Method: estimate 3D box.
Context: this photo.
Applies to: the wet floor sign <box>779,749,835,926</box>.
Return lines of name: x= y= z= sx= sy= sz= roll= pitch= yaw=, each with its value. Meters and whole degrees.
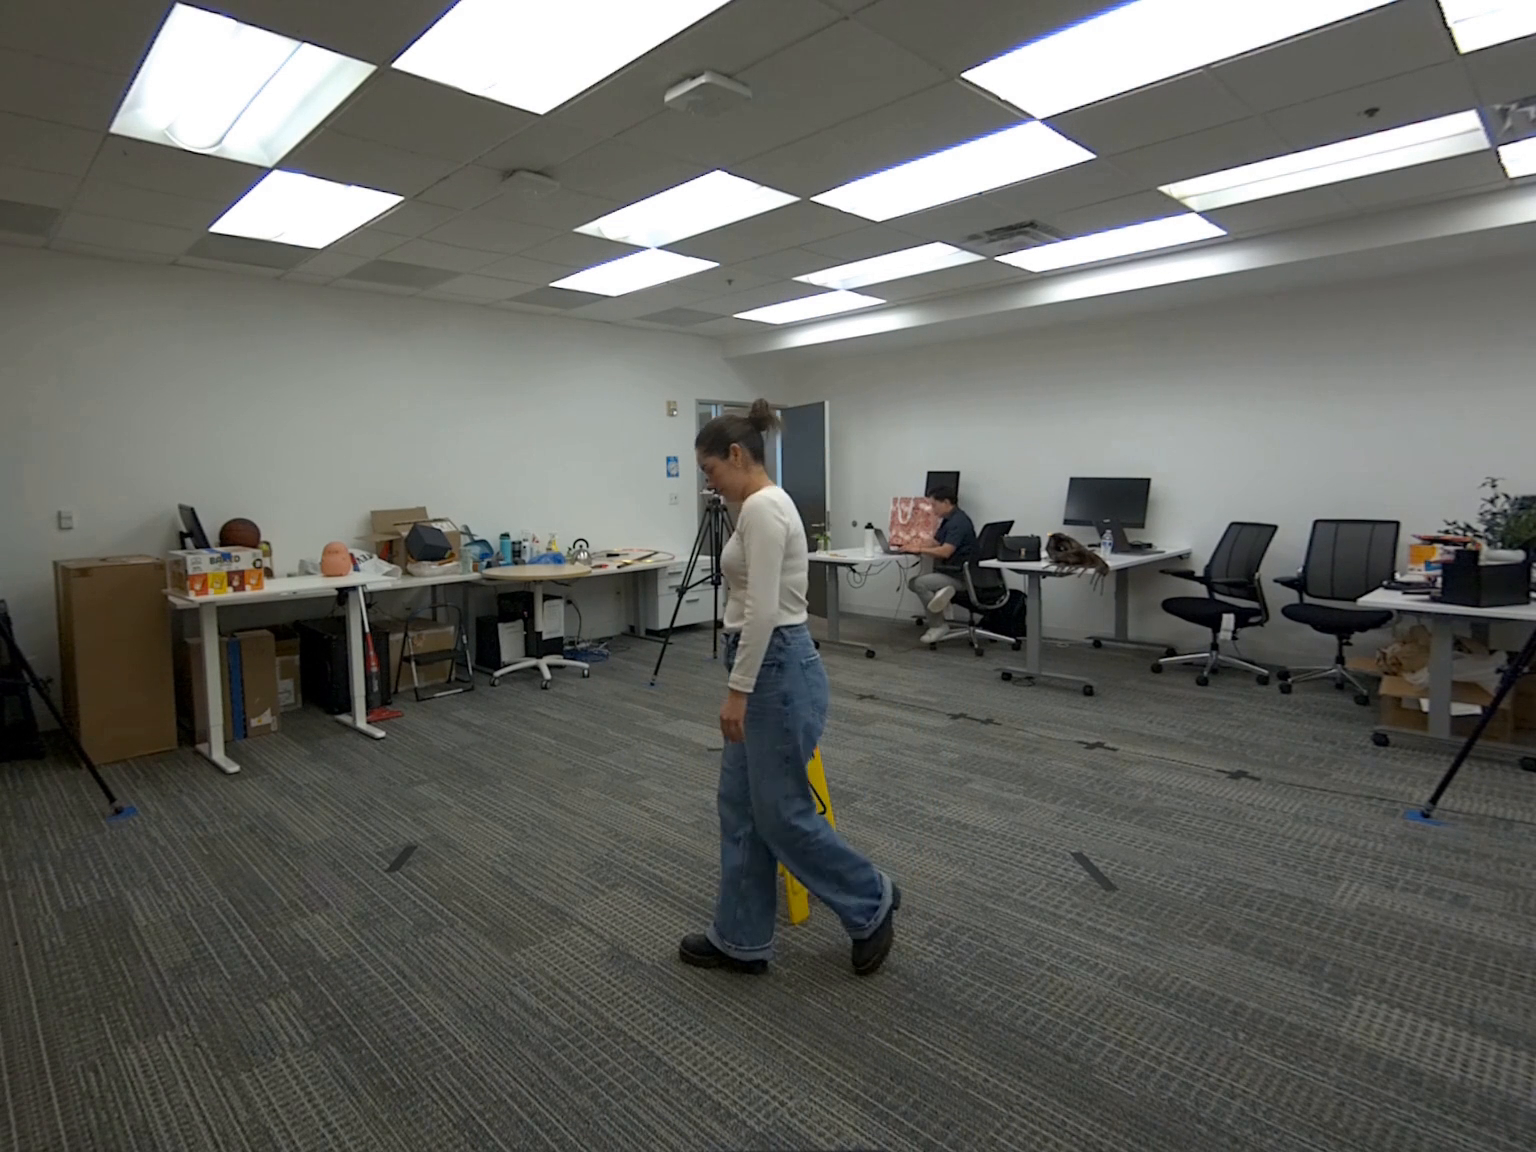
wet floor sign: x=0.077 y=0.749 z=2.848 sx=0.299 sy=0.643 sz=0.275 roll=3 pitch=6 yaw=45
